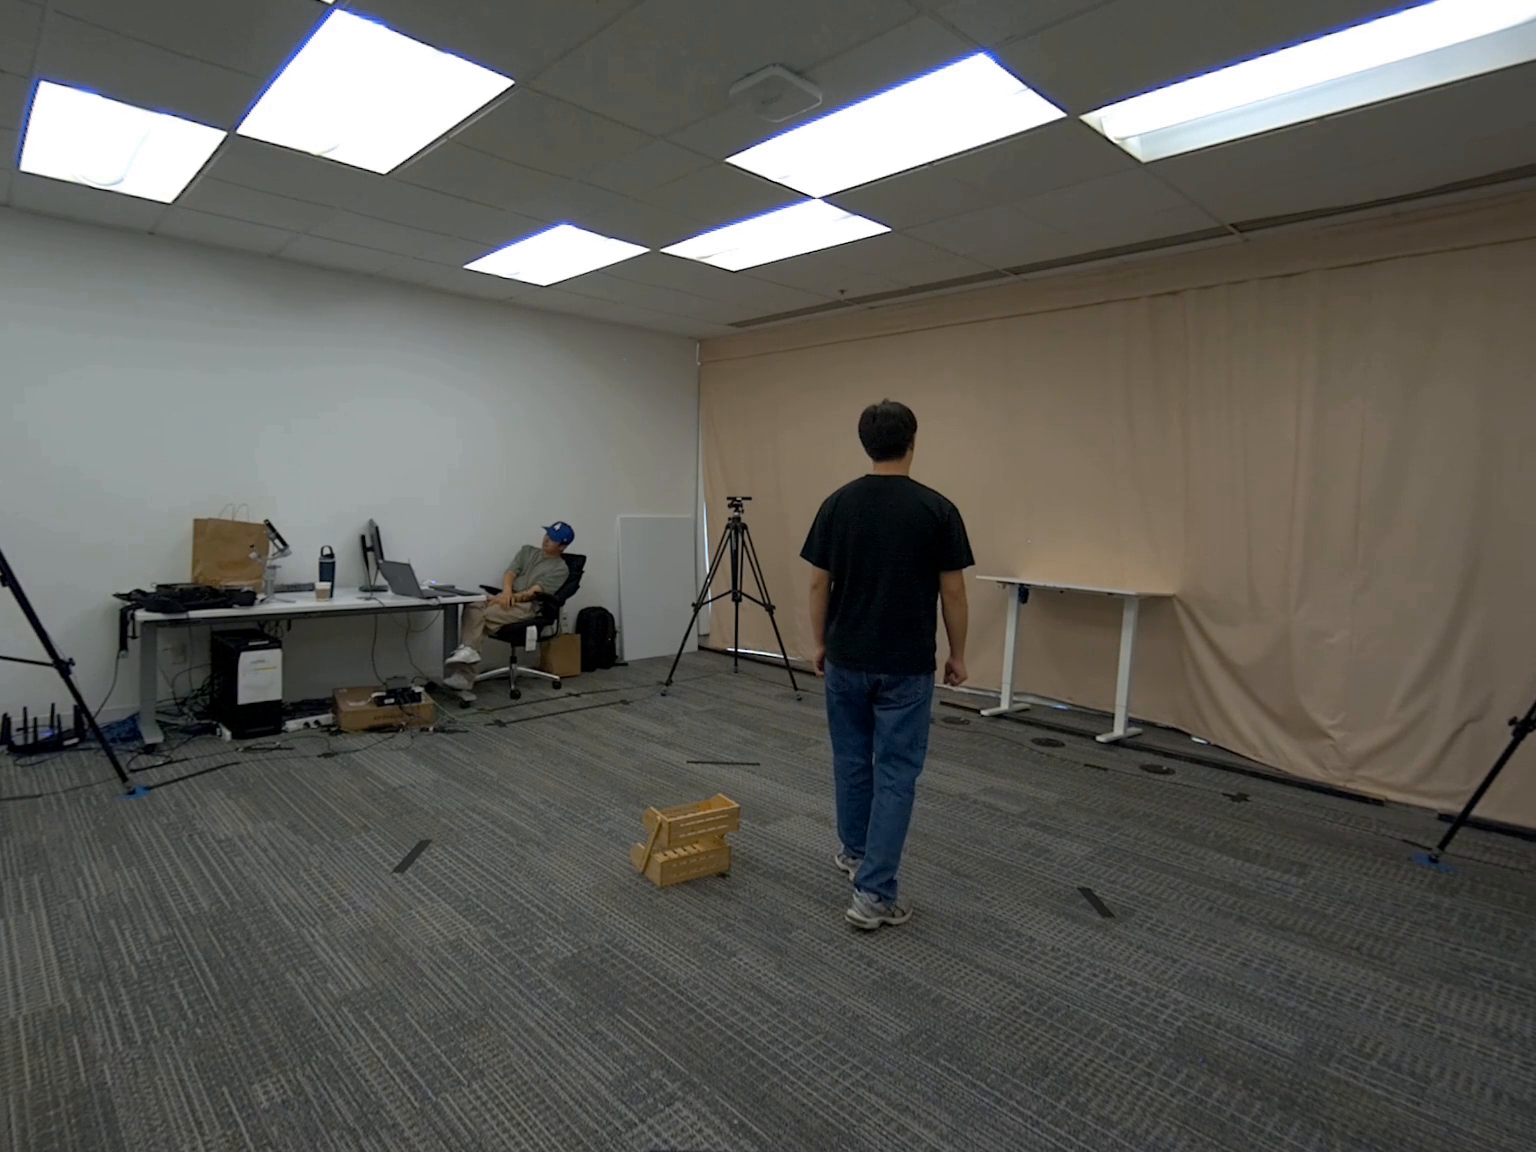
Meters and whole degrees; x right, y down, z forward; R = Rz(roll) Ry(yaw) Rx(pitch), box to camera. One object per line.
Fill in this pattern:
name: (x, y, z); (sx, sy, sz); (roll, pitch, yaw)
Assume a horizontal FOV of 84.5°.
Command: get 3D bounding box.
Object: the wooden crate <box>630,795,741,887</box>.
wooden crate: (-0.318, 0.960, 3.156); (0.317, 0.272, 0.309); (-1, 6, -35)
